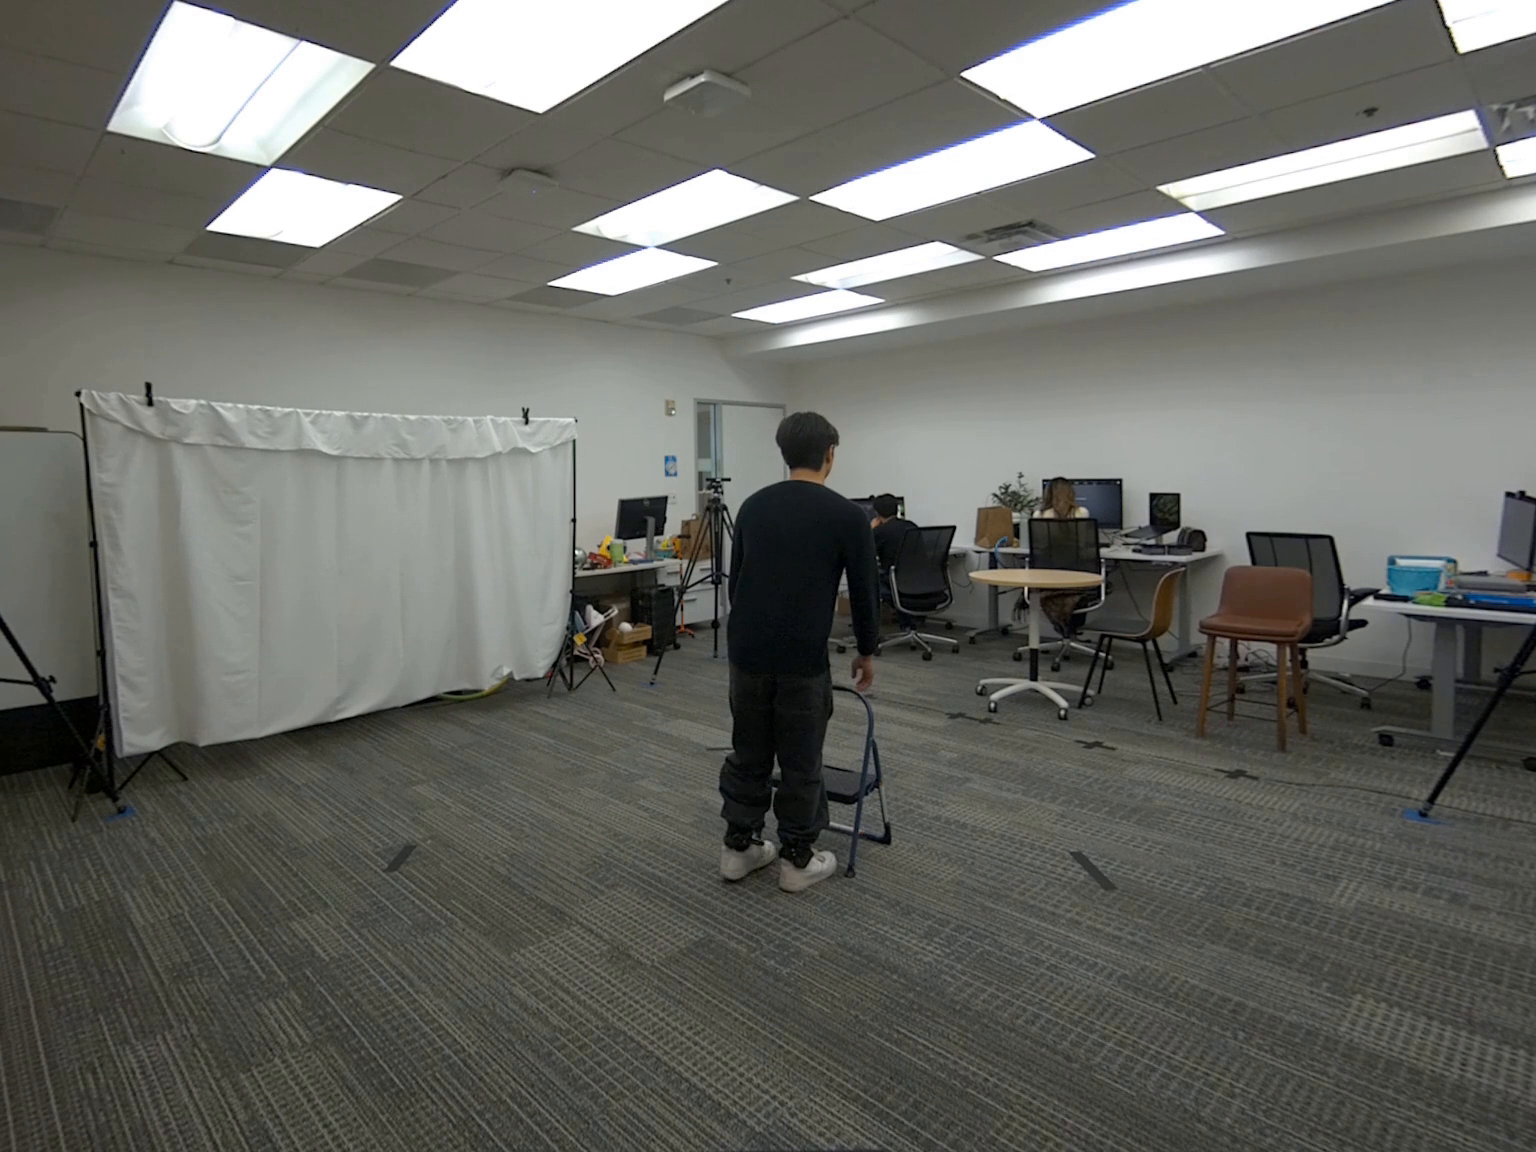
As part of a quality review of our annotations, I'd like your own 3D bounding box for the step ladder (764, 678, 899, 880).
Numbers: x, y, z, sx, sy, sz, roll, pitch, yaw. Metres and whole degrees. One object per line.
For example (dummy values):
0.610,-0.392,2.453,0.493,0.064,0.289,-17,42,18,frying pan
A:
0.210,0.721,3.222,0.443,0.604,0.341,2,5,35,step ladder
